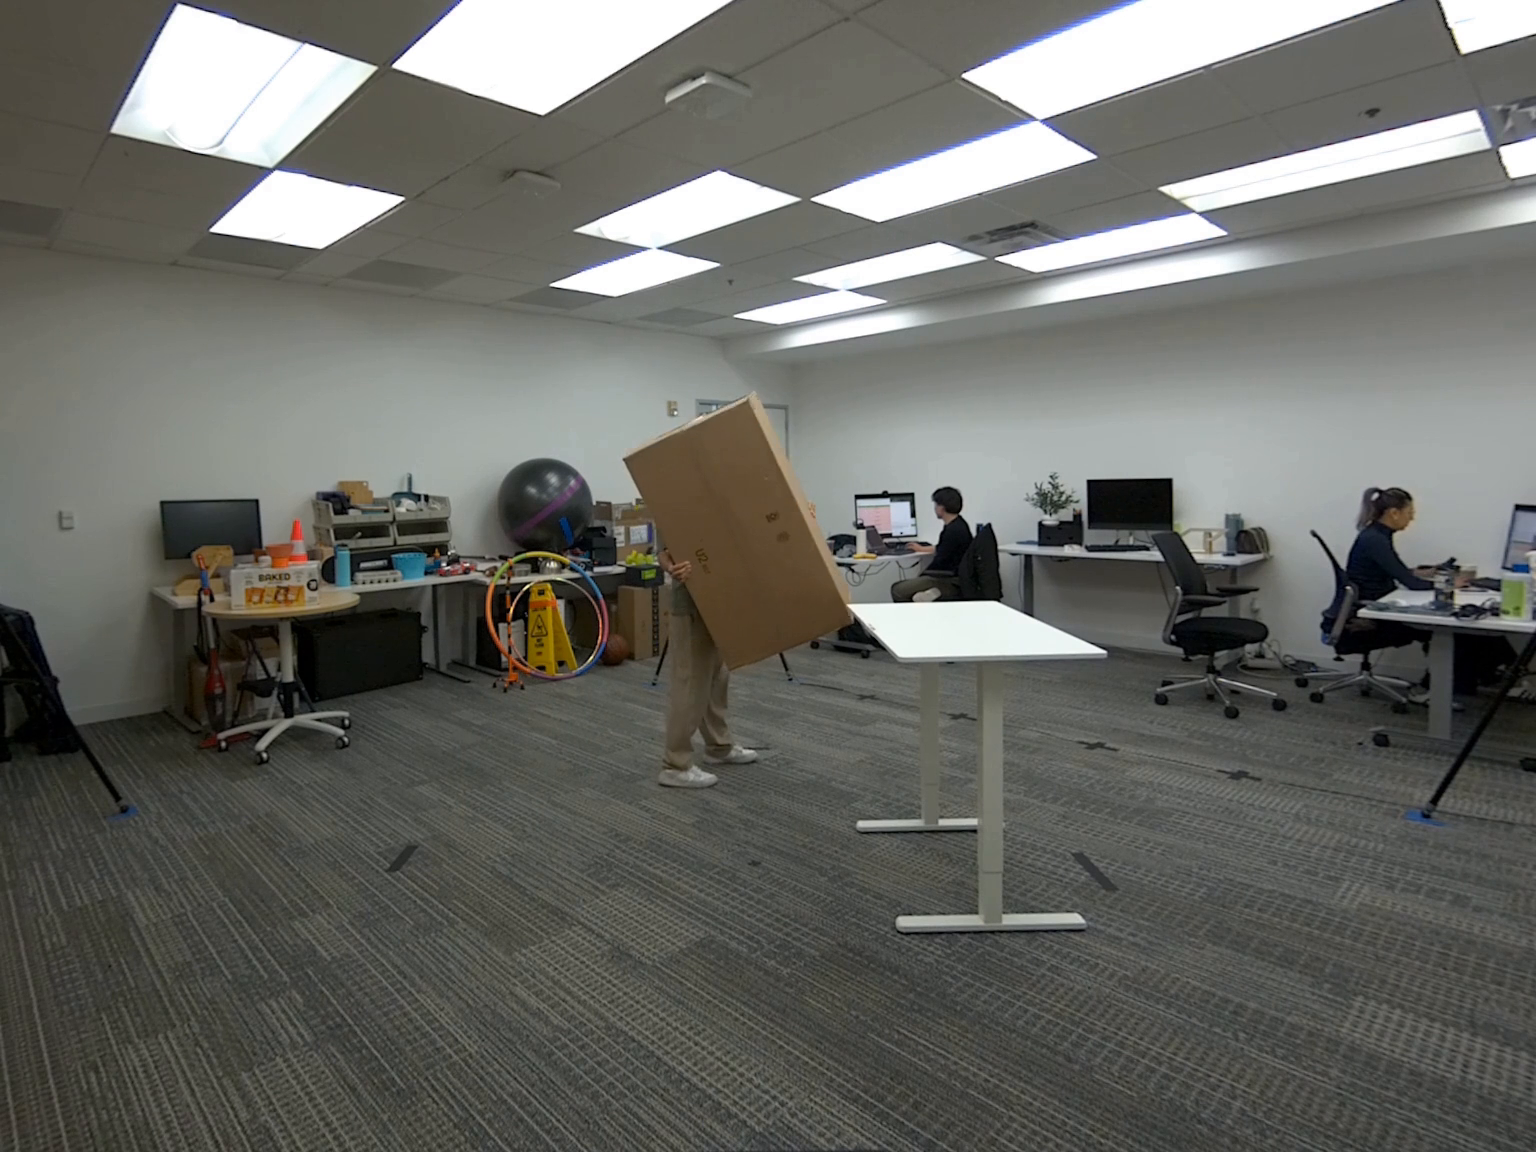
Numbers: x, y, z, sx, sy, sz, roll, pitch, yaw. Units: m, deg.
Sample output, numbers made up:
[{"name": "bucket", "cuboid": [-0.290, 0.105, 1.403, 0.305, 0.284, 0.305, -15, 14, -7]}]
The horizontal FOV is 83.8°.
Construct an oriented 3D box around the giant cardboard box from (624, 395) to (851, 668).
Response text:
[{"name": "giant cardboard box", "cuboid": [-0.111, -0.198, 3.714, 0.580, 1.013, 0.429, -24, 10, 10]}]
